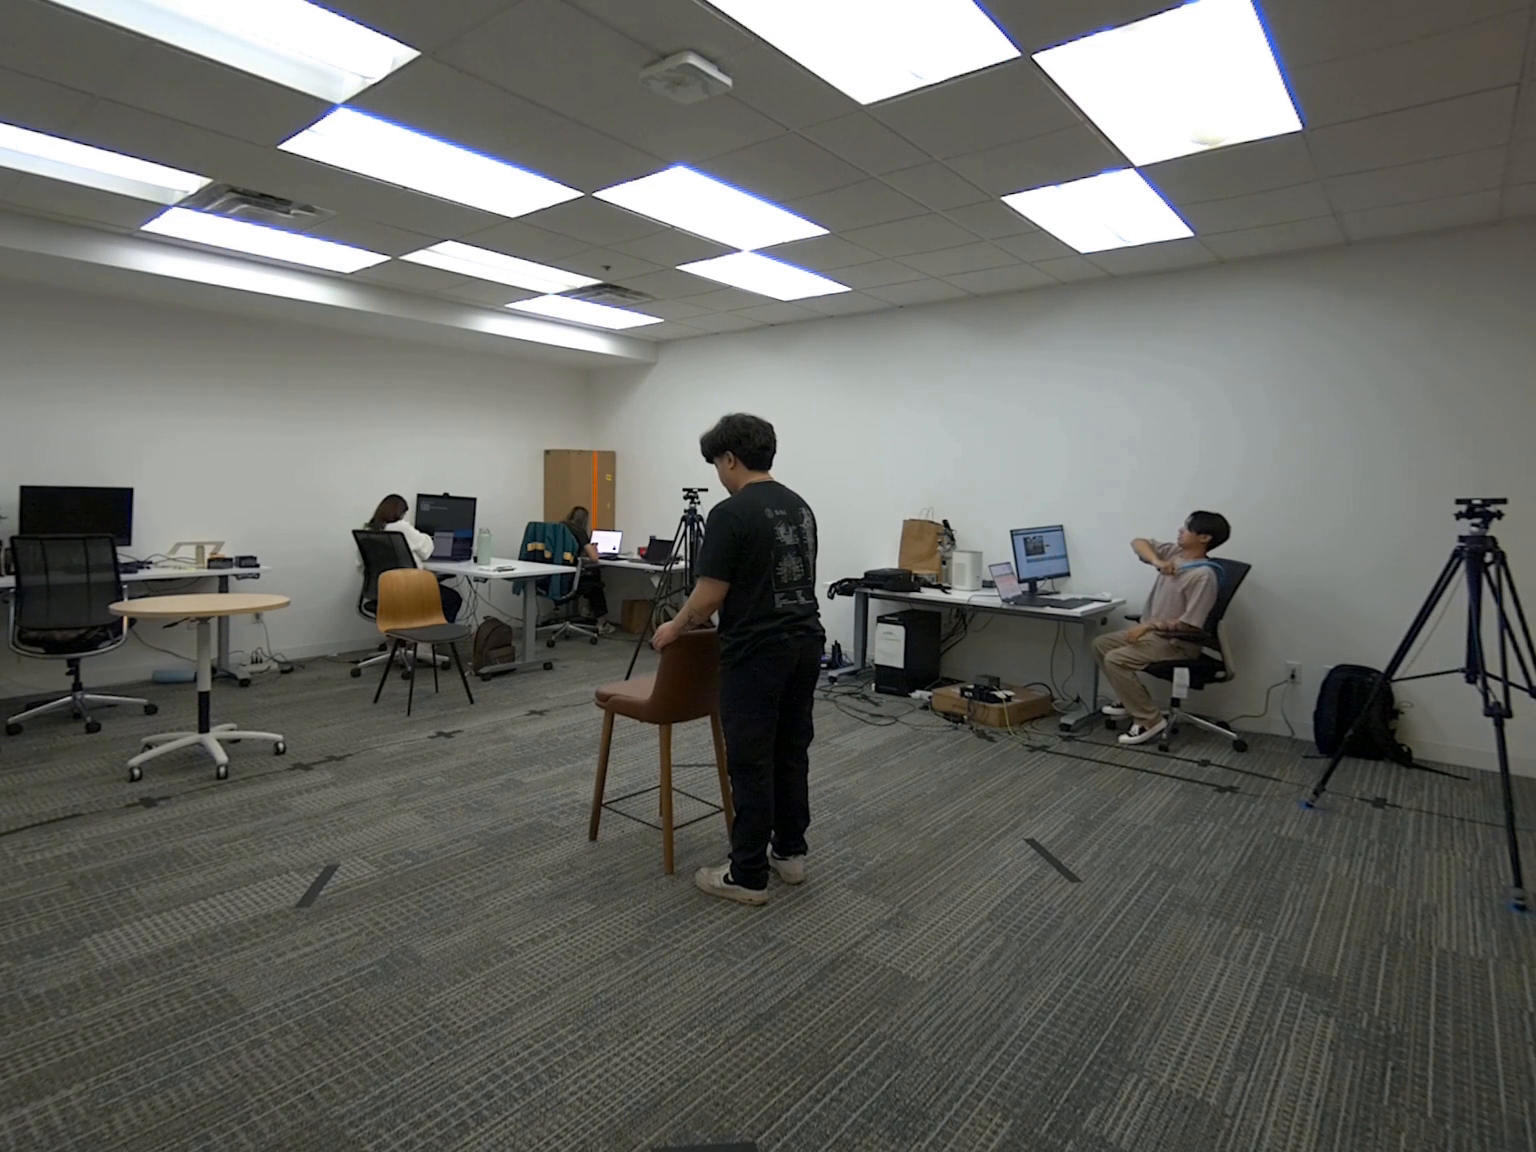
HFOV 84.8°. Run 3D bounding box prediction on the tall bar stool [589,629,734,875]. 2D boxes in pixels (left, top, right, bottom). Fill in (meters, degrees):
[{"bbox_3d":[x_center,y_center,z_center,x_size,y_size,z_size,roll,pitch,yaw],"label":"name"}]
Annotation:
[{"bbox_3d":[-0.402,0.610,3.313,0.484,0.886,0.443,6,6,41],"label":"tall bar stool"}]
